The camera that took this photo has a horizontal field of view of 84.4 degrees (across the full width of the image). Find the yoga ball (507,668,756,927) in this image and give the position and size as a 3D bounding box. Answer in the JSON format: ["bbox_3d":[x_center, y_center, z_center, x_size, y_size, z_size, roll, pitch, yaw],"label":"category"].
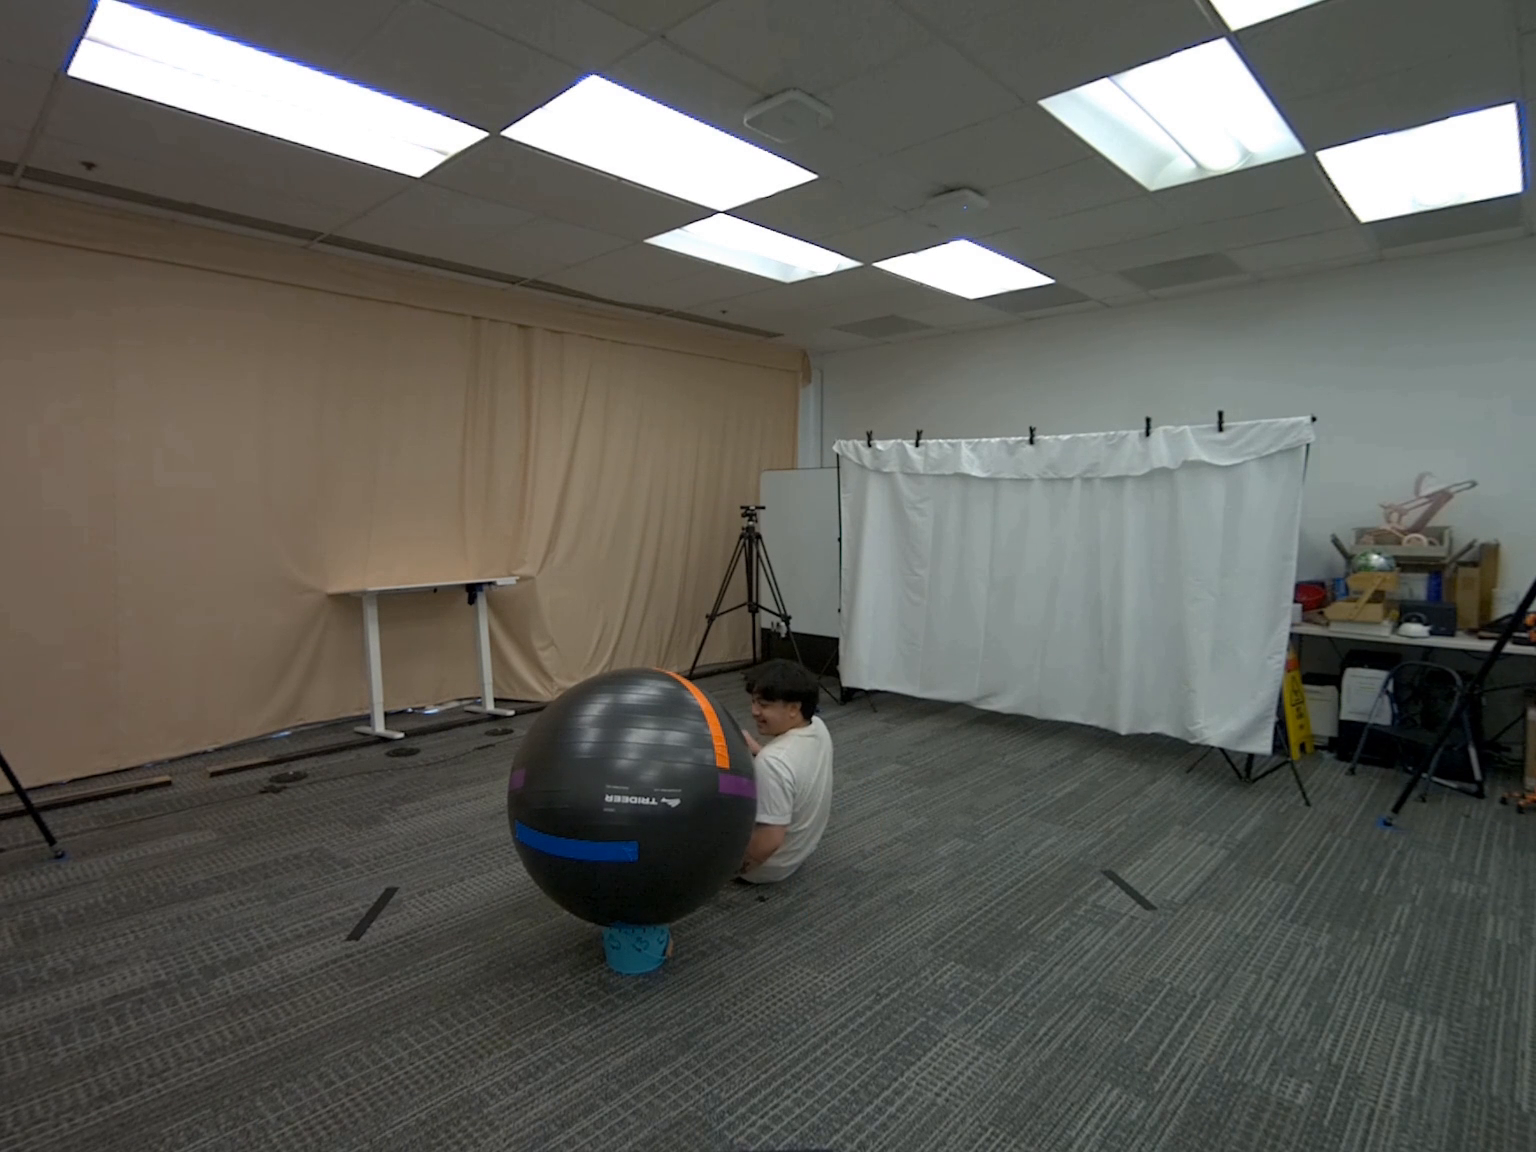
[{"bbox_3d":[-0.427,0.671,2.574,0.757,0.756,0.761,0,4,-2],"label":"yoga ball"}]
